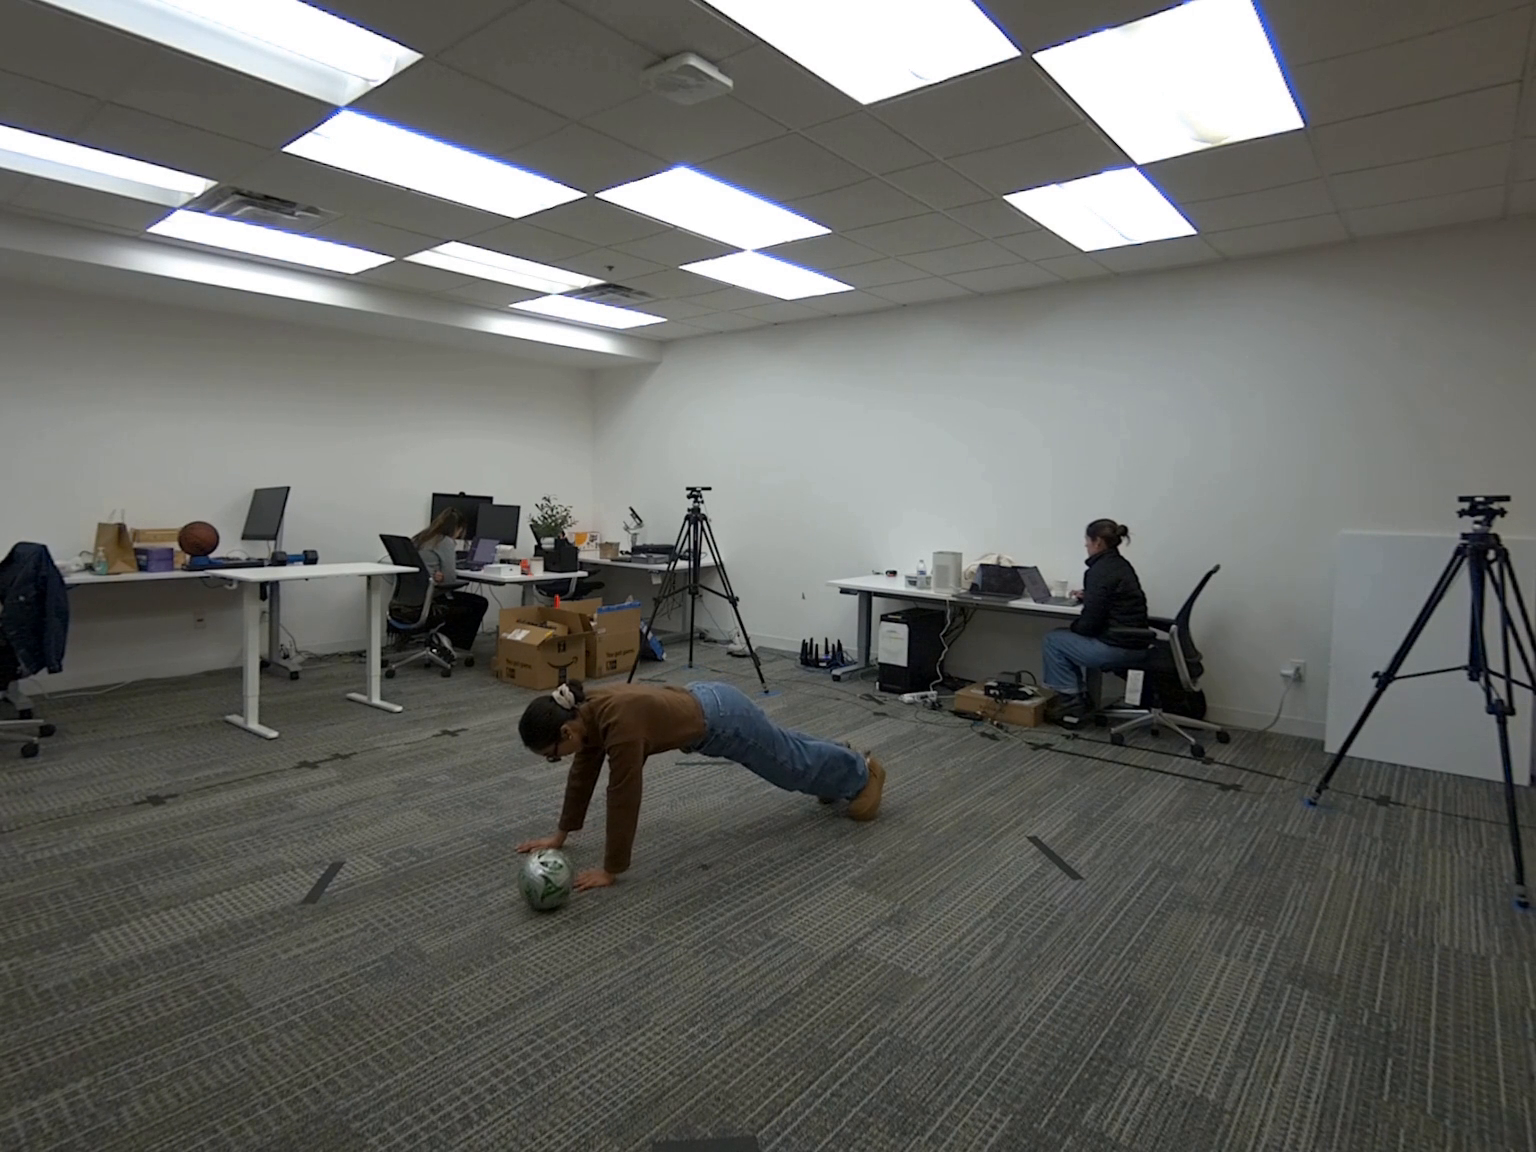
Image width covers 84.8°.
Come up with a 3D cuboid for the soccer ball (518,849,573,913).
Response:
[{"bbox_3d":[-0.743,1.001,2.801,0.187,0.187,0.188,1,4,-2],"label":"soccer ball"}]
